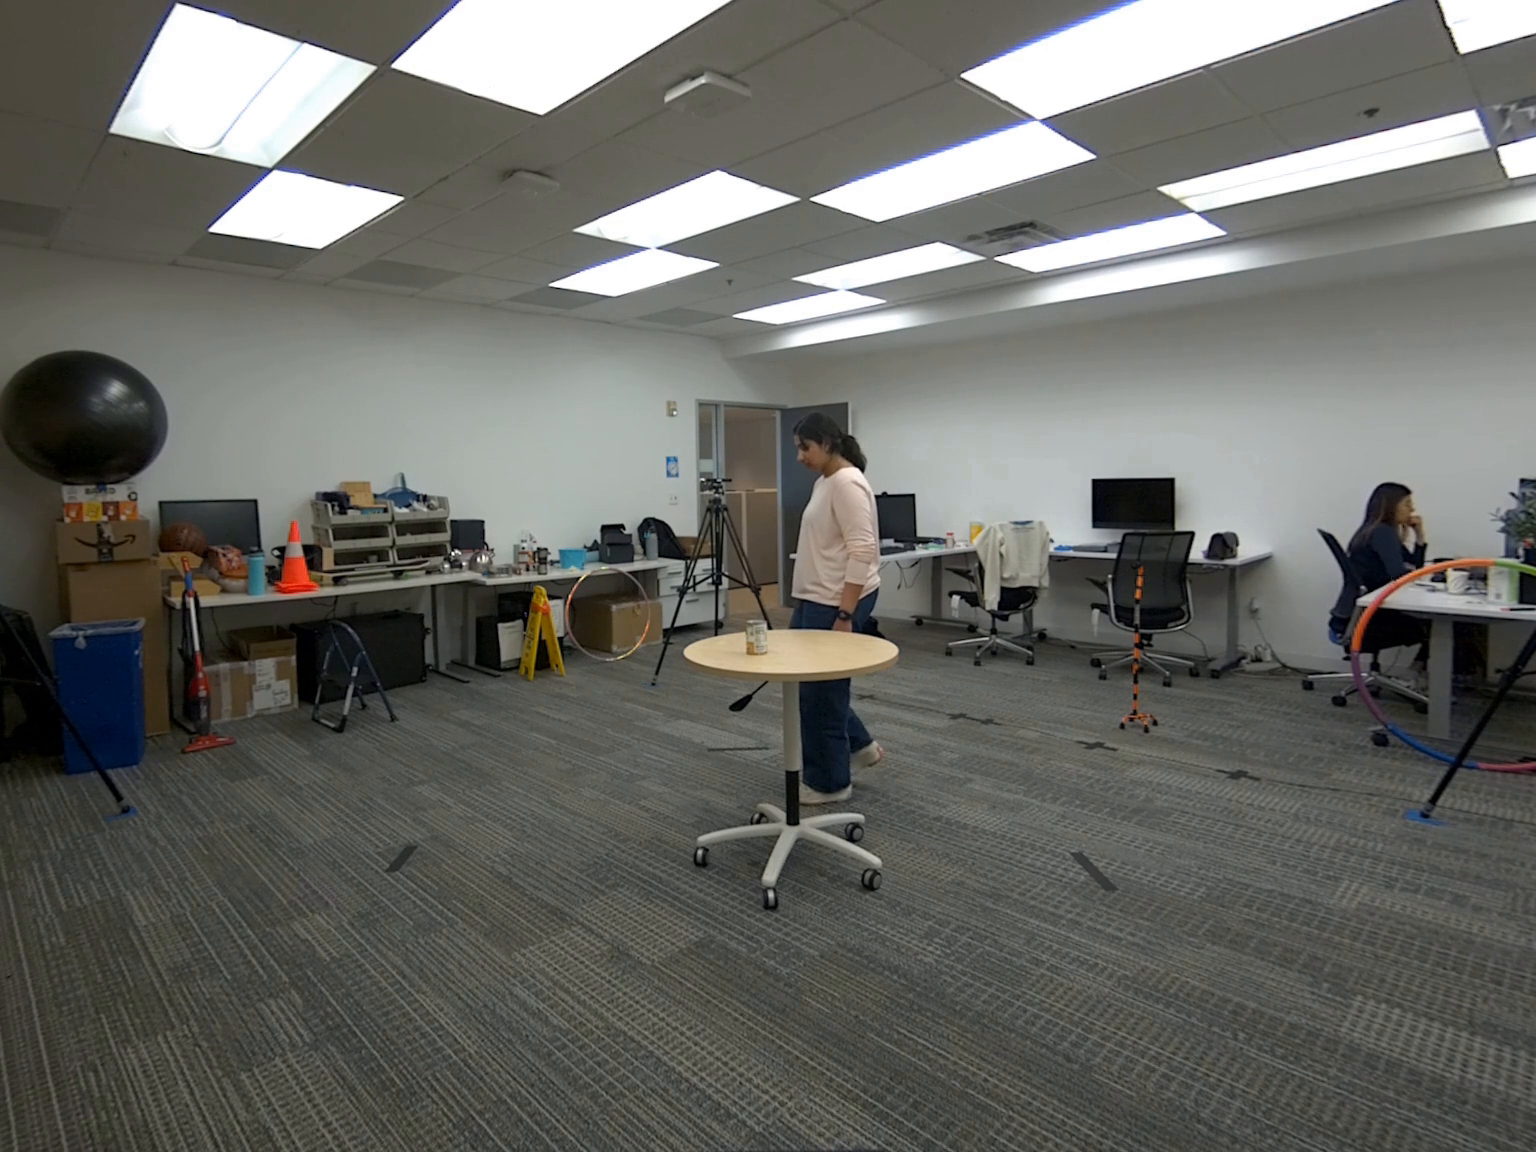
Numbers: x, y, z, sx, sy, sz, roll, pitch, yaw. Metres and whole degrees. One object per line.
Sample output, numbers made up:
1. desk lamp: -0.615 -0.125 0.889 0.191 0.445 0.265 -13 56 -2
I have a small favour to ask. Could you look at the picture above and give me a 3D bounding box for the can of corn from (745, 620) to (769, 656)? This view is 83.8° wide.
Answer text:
1. can of corn: -0.037 0.218 2.999 0.074 0.110 0.074 0 5 -2
